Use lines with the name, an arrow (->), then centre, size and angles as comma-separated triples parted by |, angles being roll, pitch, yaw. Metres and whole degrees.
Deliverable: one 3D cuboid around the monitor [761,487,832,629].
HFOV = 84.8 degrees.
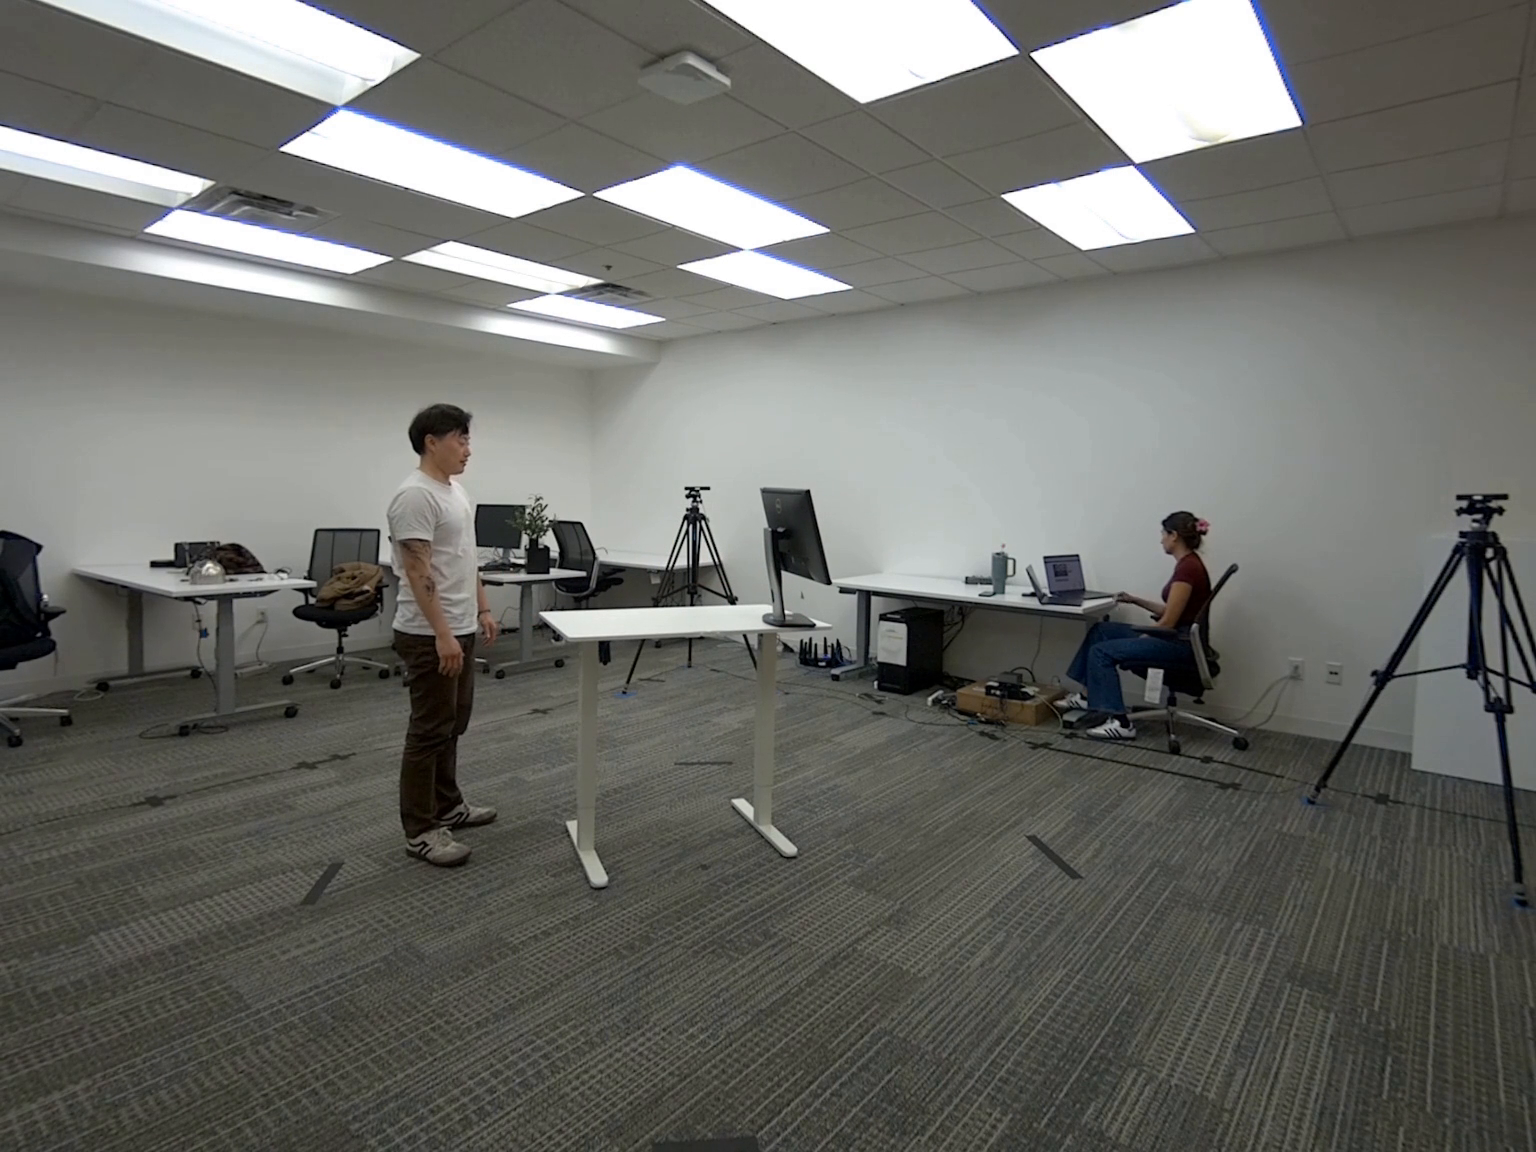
monitor -> 0.062, -0.076, 3.253 | 0.184, 0.520, 0.551 | -2, 5, -20
